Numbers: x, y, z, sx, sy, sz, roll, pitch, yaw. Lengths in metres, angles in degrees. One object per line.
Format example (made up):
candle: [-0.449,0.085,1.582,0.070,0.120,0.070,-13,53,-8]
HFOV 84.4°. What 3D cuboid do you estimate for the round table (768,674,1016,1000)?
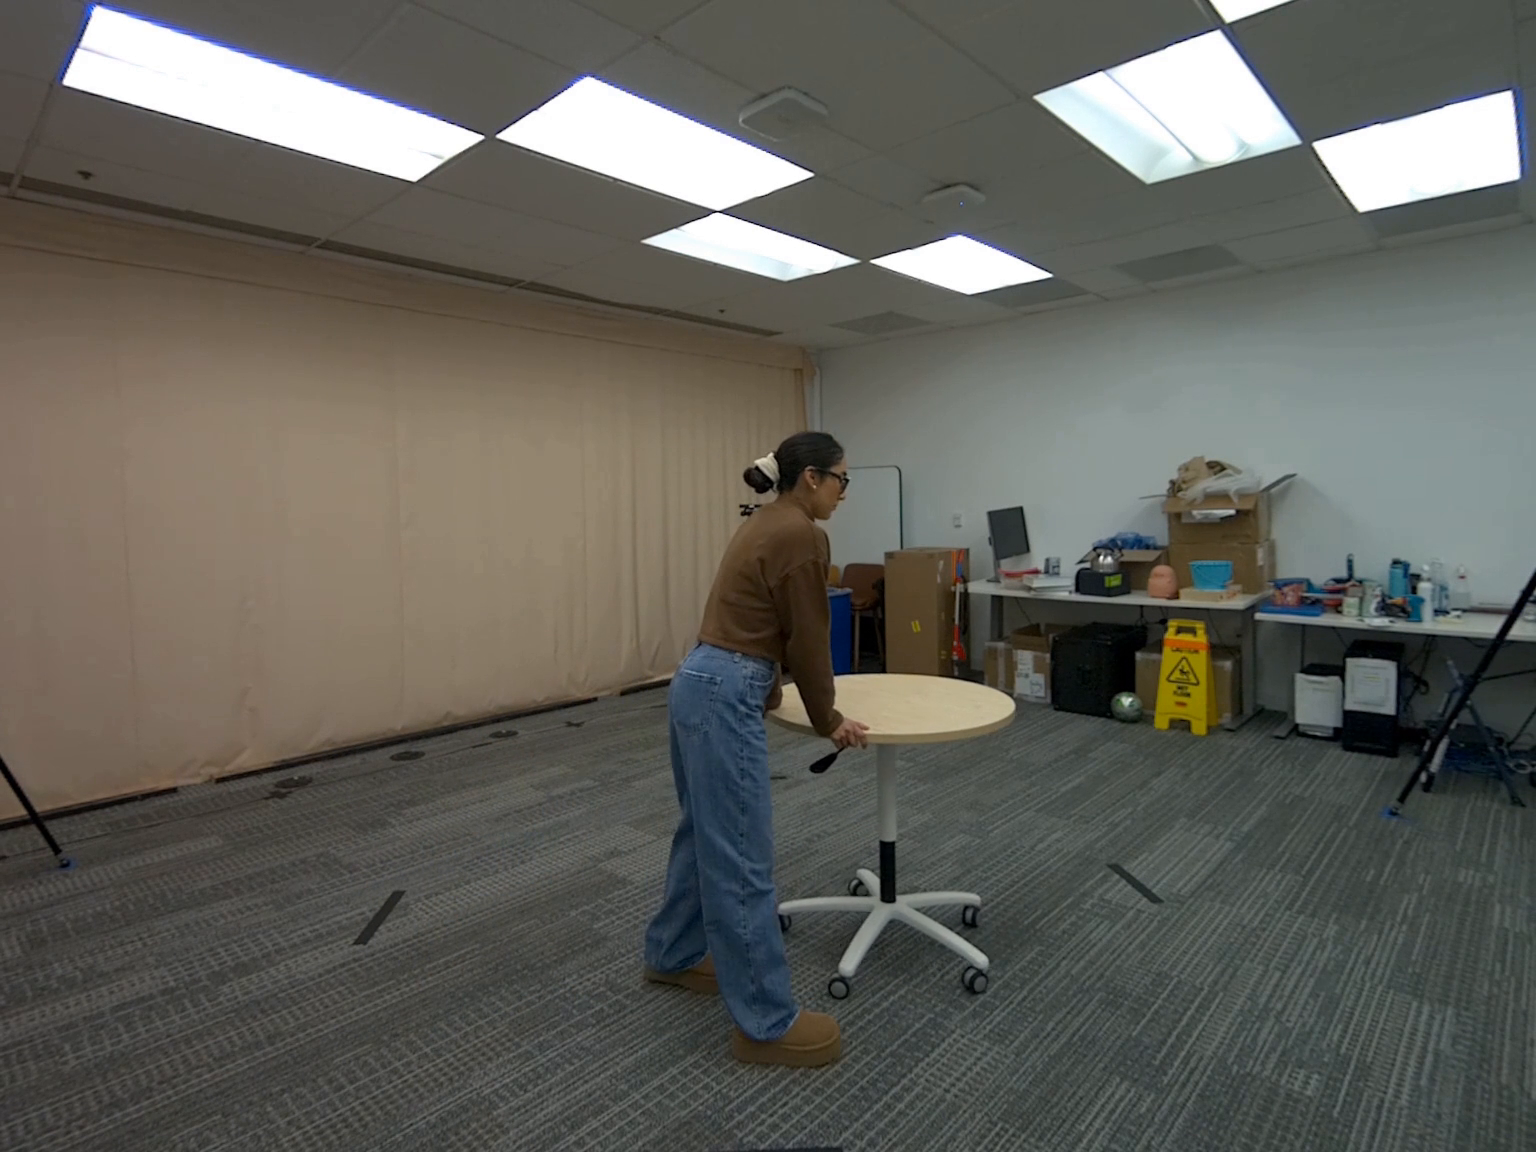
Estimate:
round table: [0.375,0.777,2.633,0.763,0.792,0.767,-1,4,-2]
